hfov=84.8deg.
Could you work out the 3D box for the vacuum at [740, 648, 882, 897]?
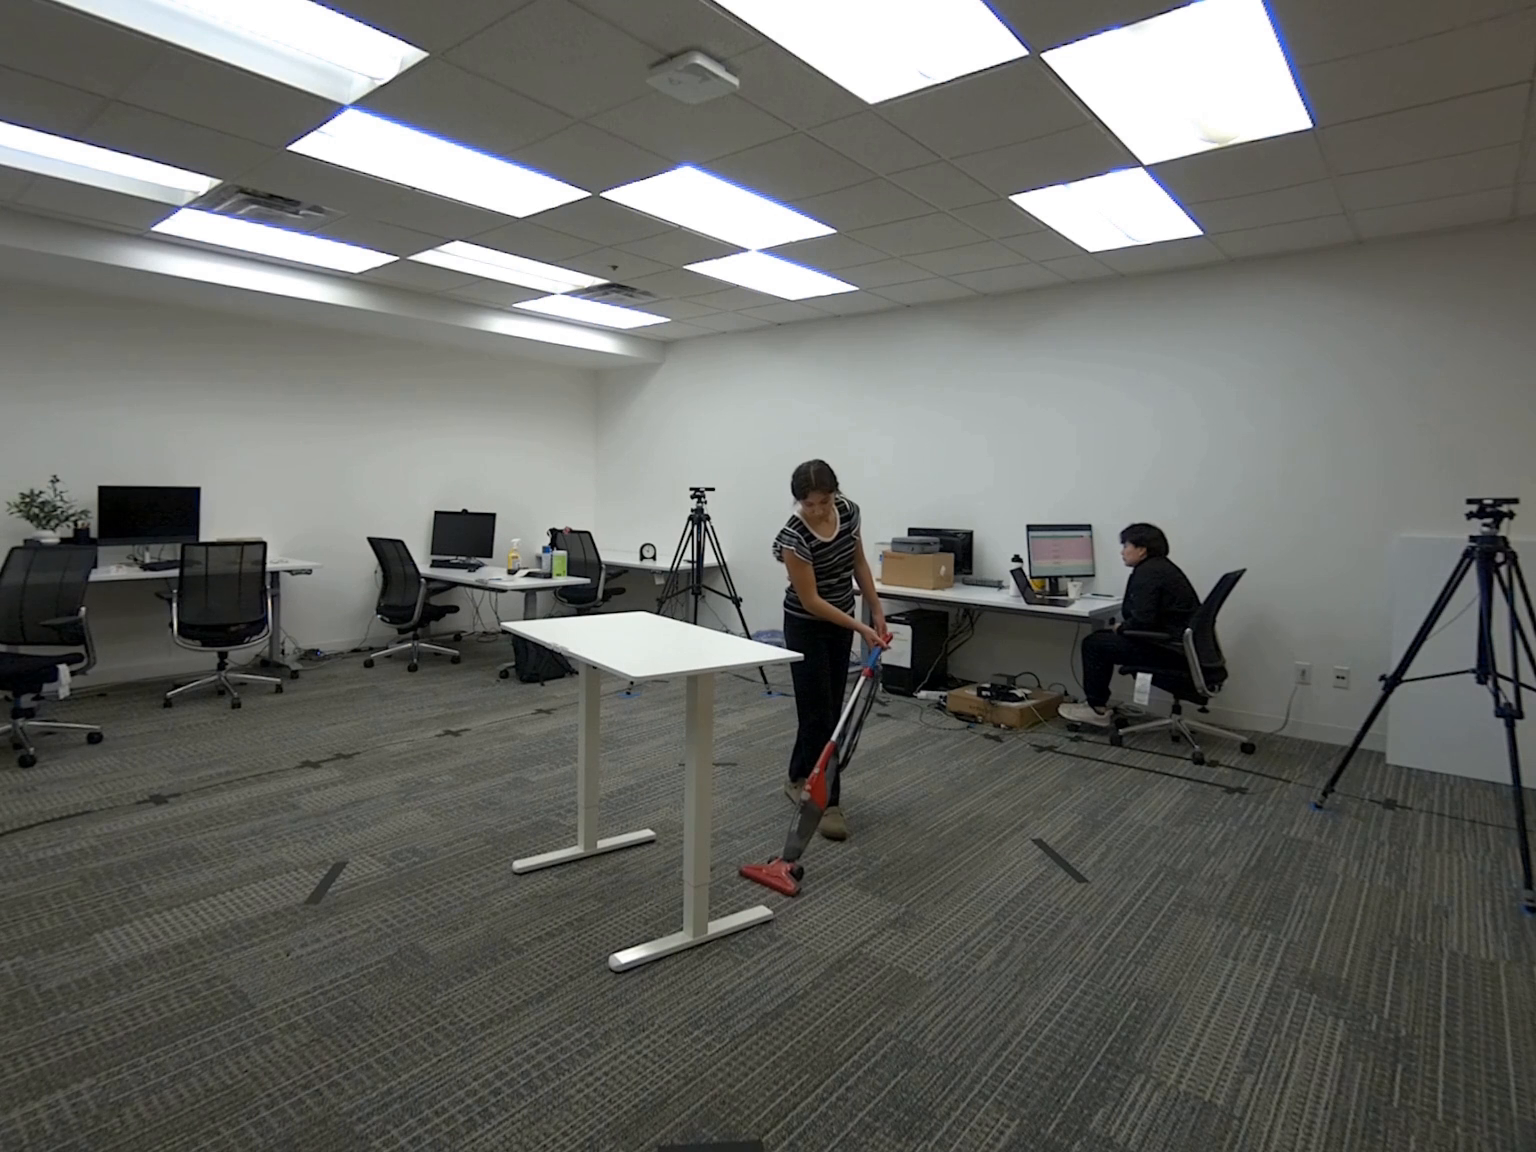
[{"bbox_3d":[0.261,0.678,3.247,0.262,1.054,0.138,14,-31,35],"label":"vacuum"}]
